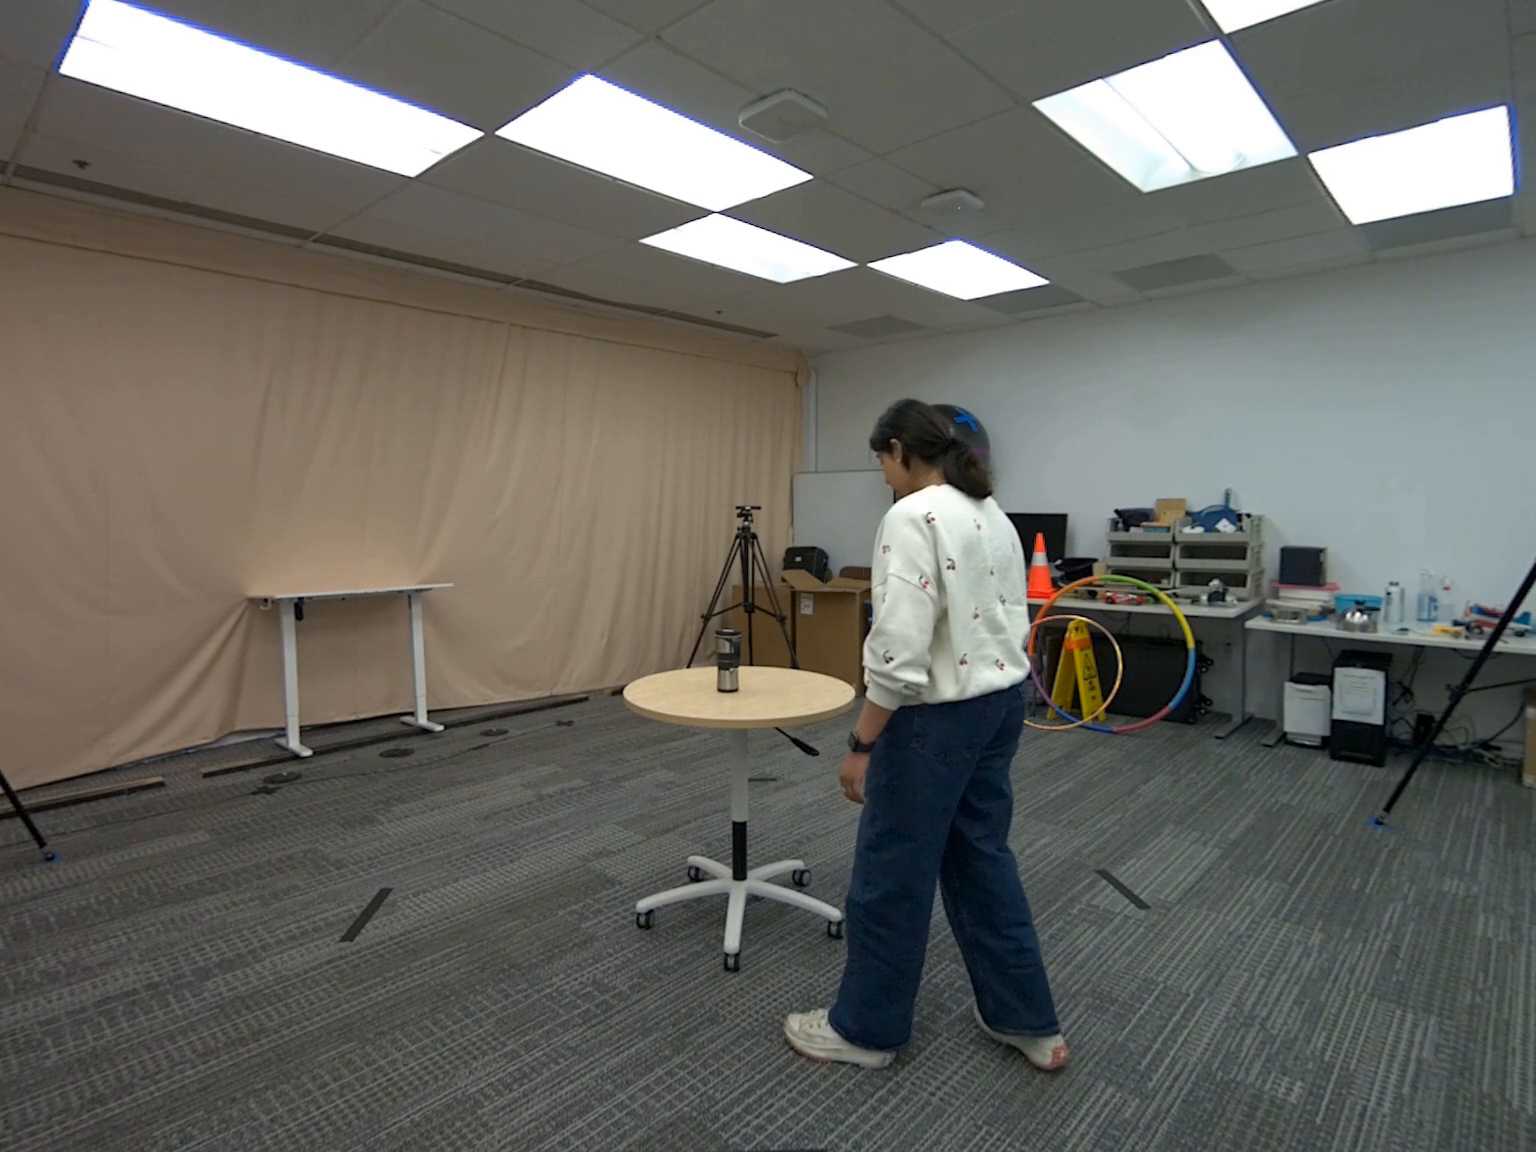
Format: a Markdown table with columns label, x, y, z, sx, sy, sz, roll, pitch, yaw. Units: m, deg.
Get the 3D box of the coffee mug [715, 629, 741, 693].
| label | x | y | z | sx | sy | sz | roll | pitch | yaw |
| --- | --- | --- | --- | --- | --- | --- | --- | --- | --- |
| coffee mug | -0.133 | 0.282 | 2.753 | 0.089 | 0.203 | 0.120 | 2 | 1 | 14 |
